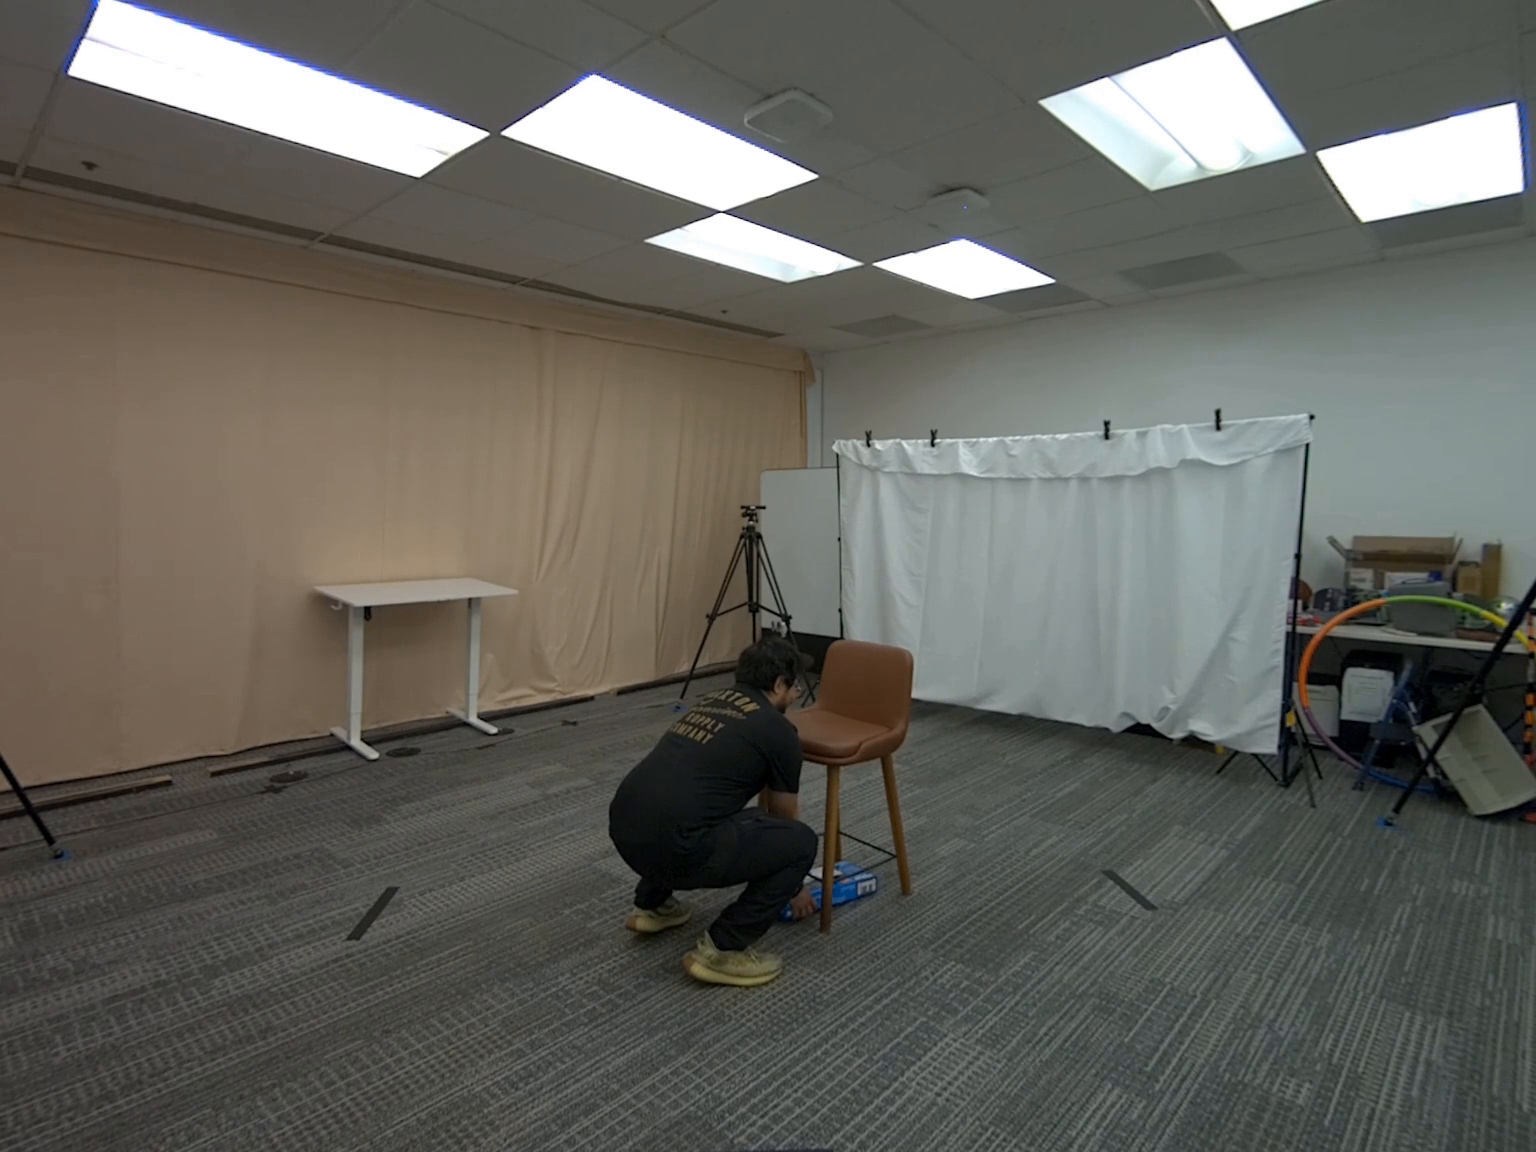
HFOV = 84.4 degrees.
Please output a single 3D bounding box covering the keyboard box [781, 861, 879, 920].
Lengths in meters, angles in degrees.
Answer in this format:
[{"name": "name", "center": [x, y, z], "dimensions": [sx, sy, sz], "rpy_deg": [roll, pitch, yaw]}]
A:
[{"name": "keyboard box", "center": [0.181, 1.105, 2.962], "dimensions": [0.423, 0.059, 0.182], "rpy_deg": [0, 3, -38]}]
